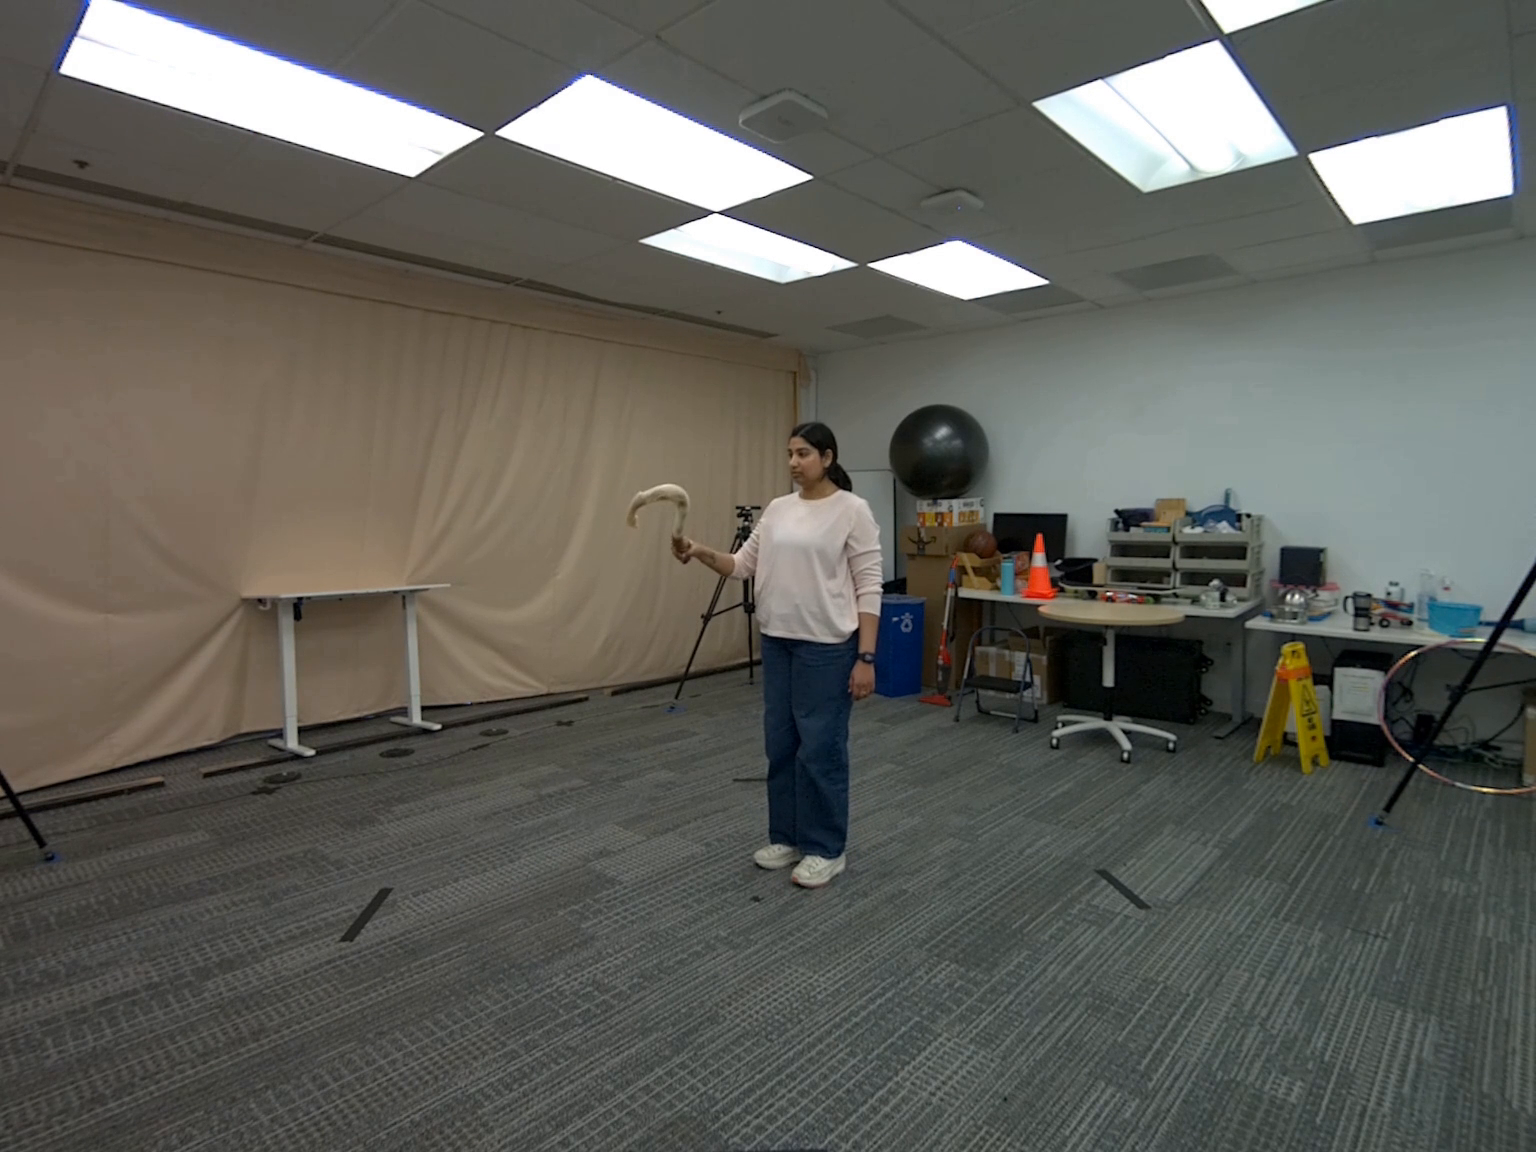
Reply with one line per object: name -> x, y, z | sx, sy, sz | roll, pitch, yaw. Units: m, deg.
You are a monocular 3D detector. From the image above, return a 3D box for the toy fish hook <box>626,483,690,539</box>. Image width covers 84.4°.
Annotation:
toy fish hook -> -0.367, -0.165, 2.969 | 0.224, 0.049, 0.496 | -11, -30, -4
